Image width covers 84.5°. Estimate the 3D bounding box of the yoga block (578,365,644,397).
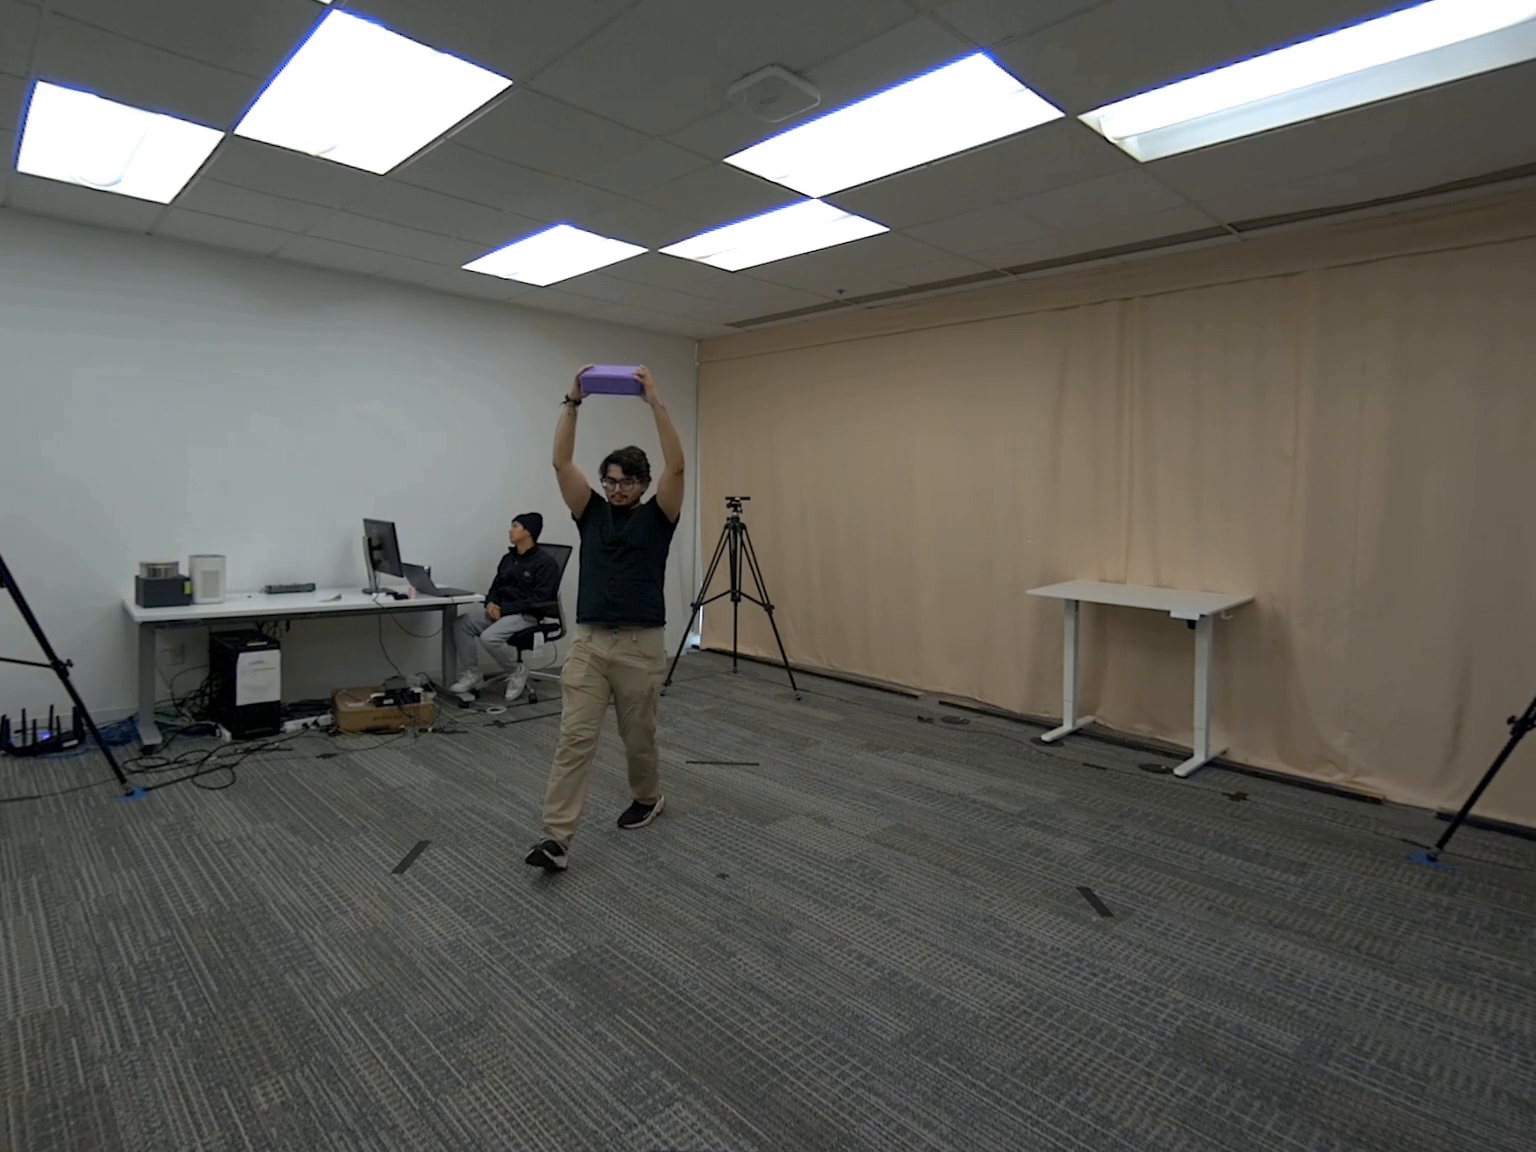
[{"bbox_3d":[-0.602,-0.755,3.242,0.231,0.075,0.150,4,29,10],"label":"yoga block"}]
